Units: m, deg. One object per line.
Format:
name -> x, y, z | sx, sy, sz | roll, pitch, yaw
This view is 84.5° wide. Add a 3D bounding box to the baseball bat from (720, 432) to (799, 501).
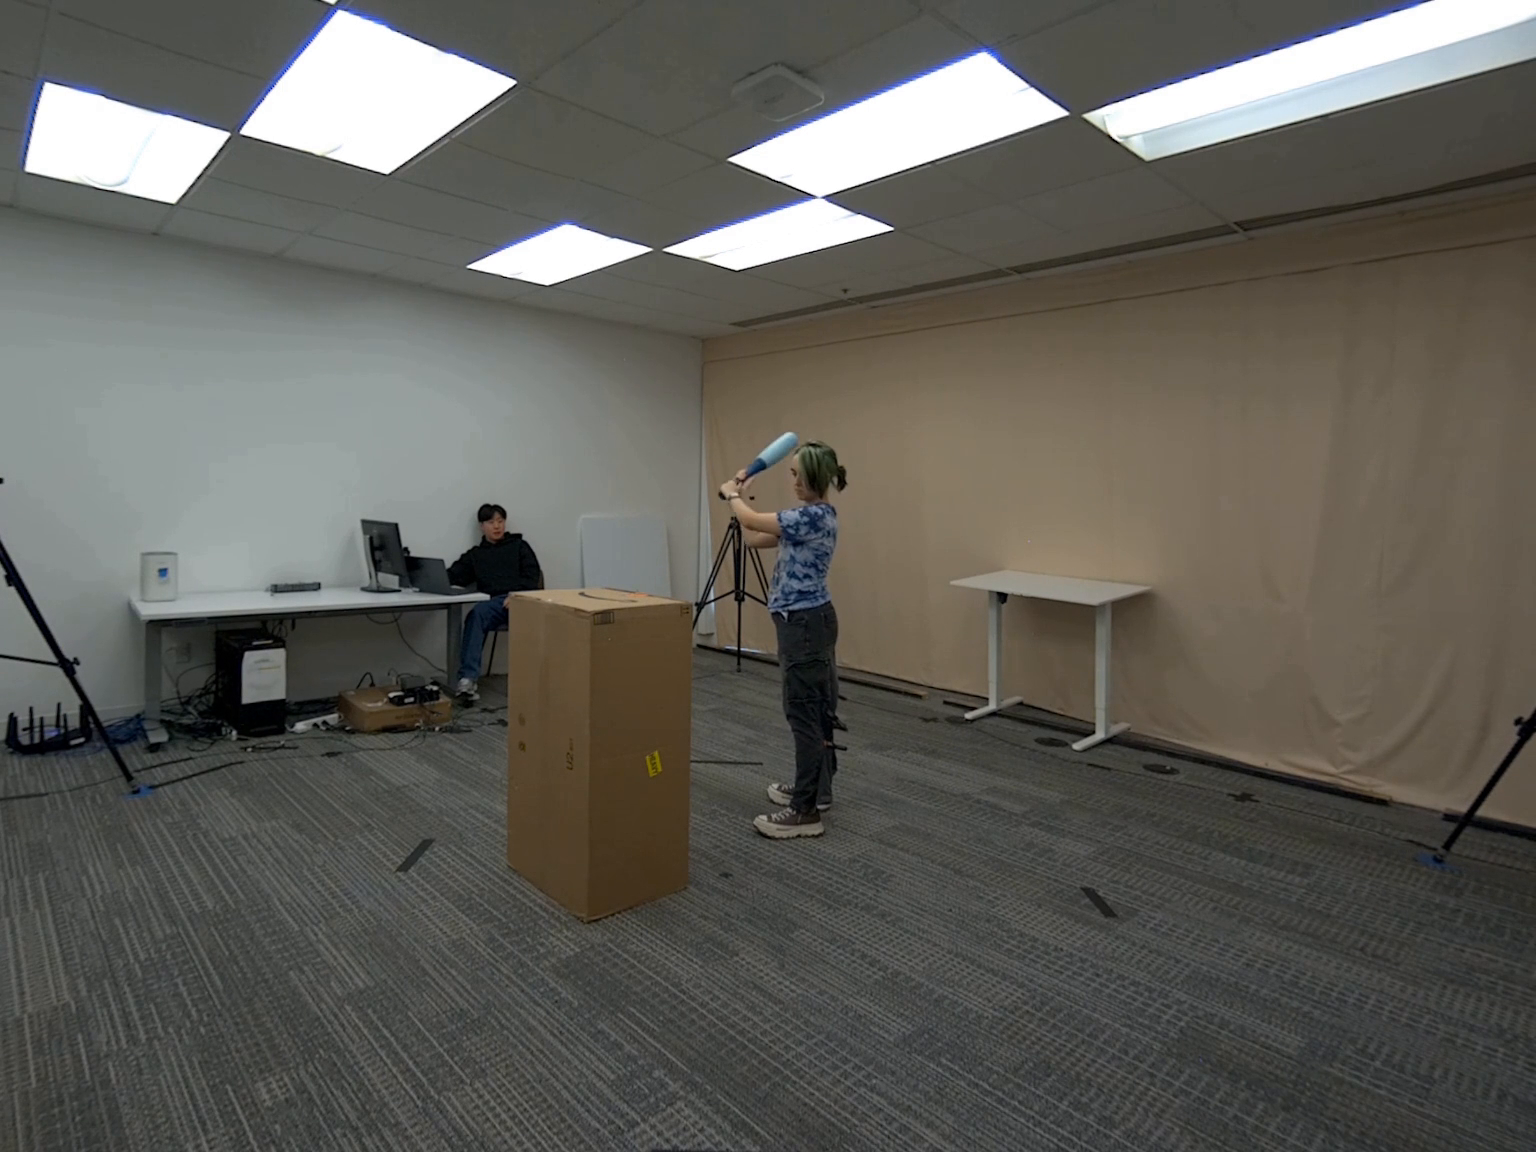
baseball bat -> -0.061, -0.498, 3.949 | 0.091, 0.087, 0.542 | 5, 40, 43
